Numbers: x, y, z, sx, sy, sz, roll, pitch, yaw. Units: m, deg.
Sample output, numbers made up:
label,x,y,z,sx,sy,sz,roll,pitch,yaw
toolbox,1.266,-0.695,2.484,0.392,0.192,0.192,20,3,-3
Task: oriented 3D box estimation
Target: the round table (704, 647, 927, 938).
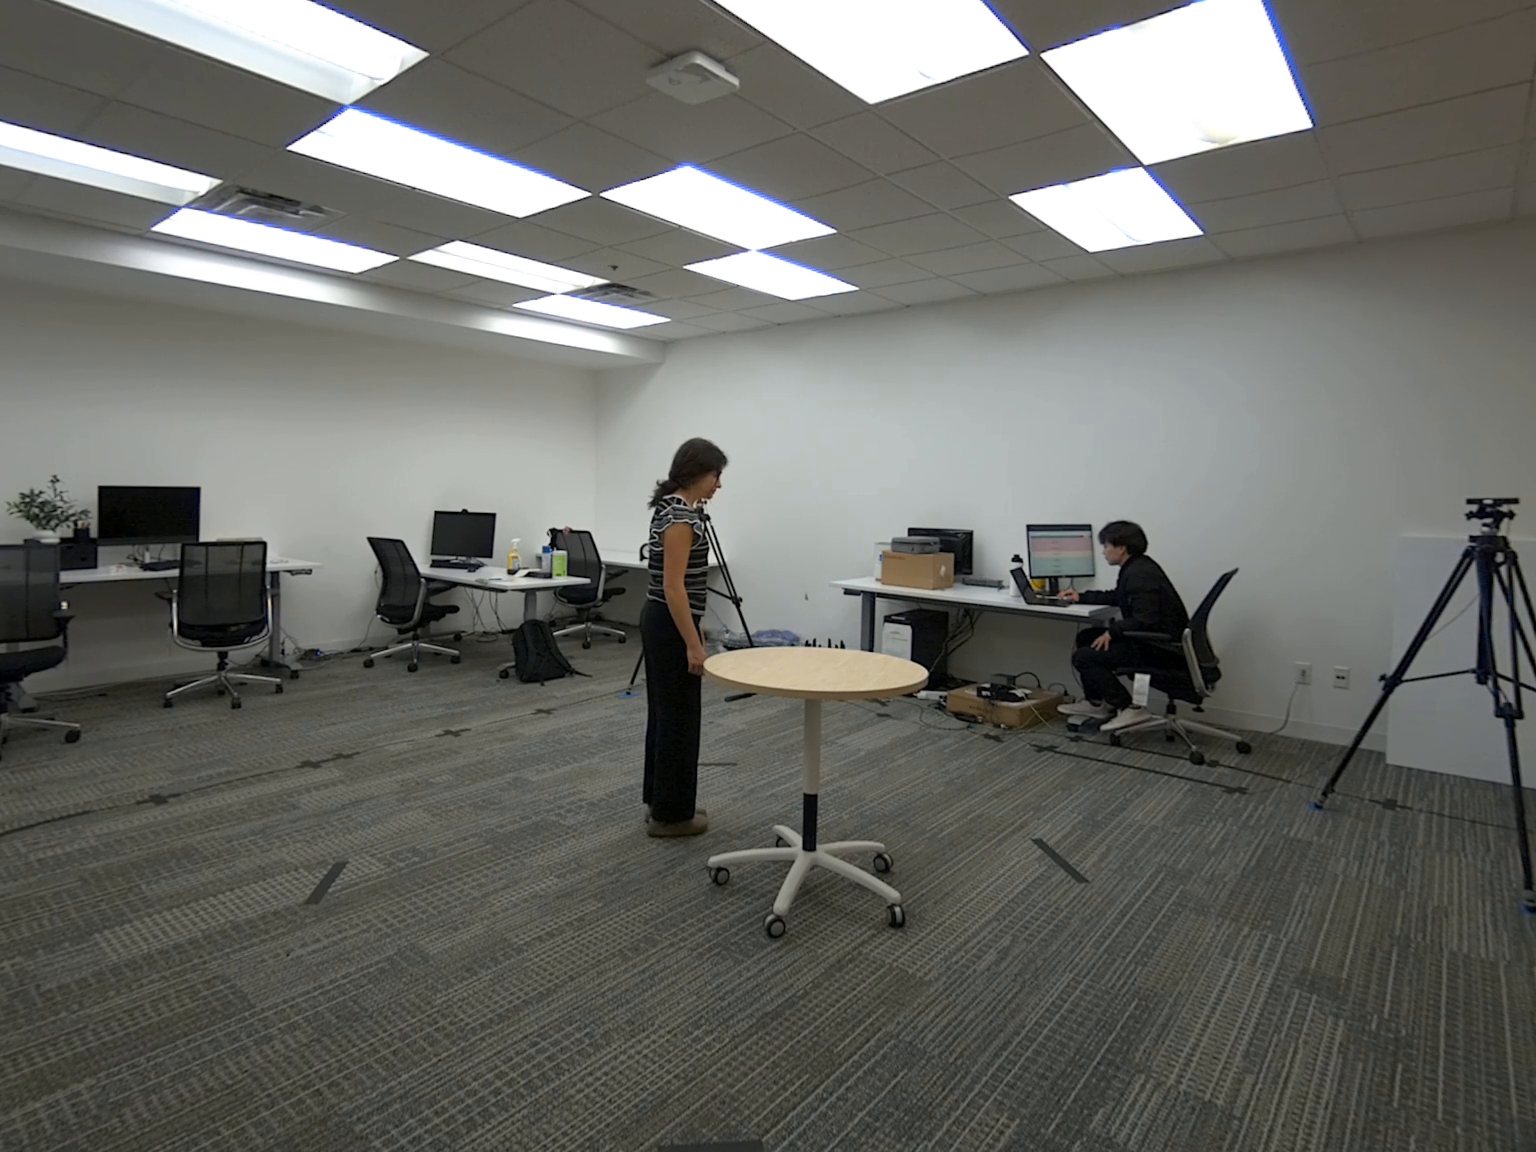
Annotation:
label,x,y,z,sx,sy,sz,roll,pitch,yaw
round table,0.145,0.703,2.944,0.763,0.791,0.768,1,4,-2
